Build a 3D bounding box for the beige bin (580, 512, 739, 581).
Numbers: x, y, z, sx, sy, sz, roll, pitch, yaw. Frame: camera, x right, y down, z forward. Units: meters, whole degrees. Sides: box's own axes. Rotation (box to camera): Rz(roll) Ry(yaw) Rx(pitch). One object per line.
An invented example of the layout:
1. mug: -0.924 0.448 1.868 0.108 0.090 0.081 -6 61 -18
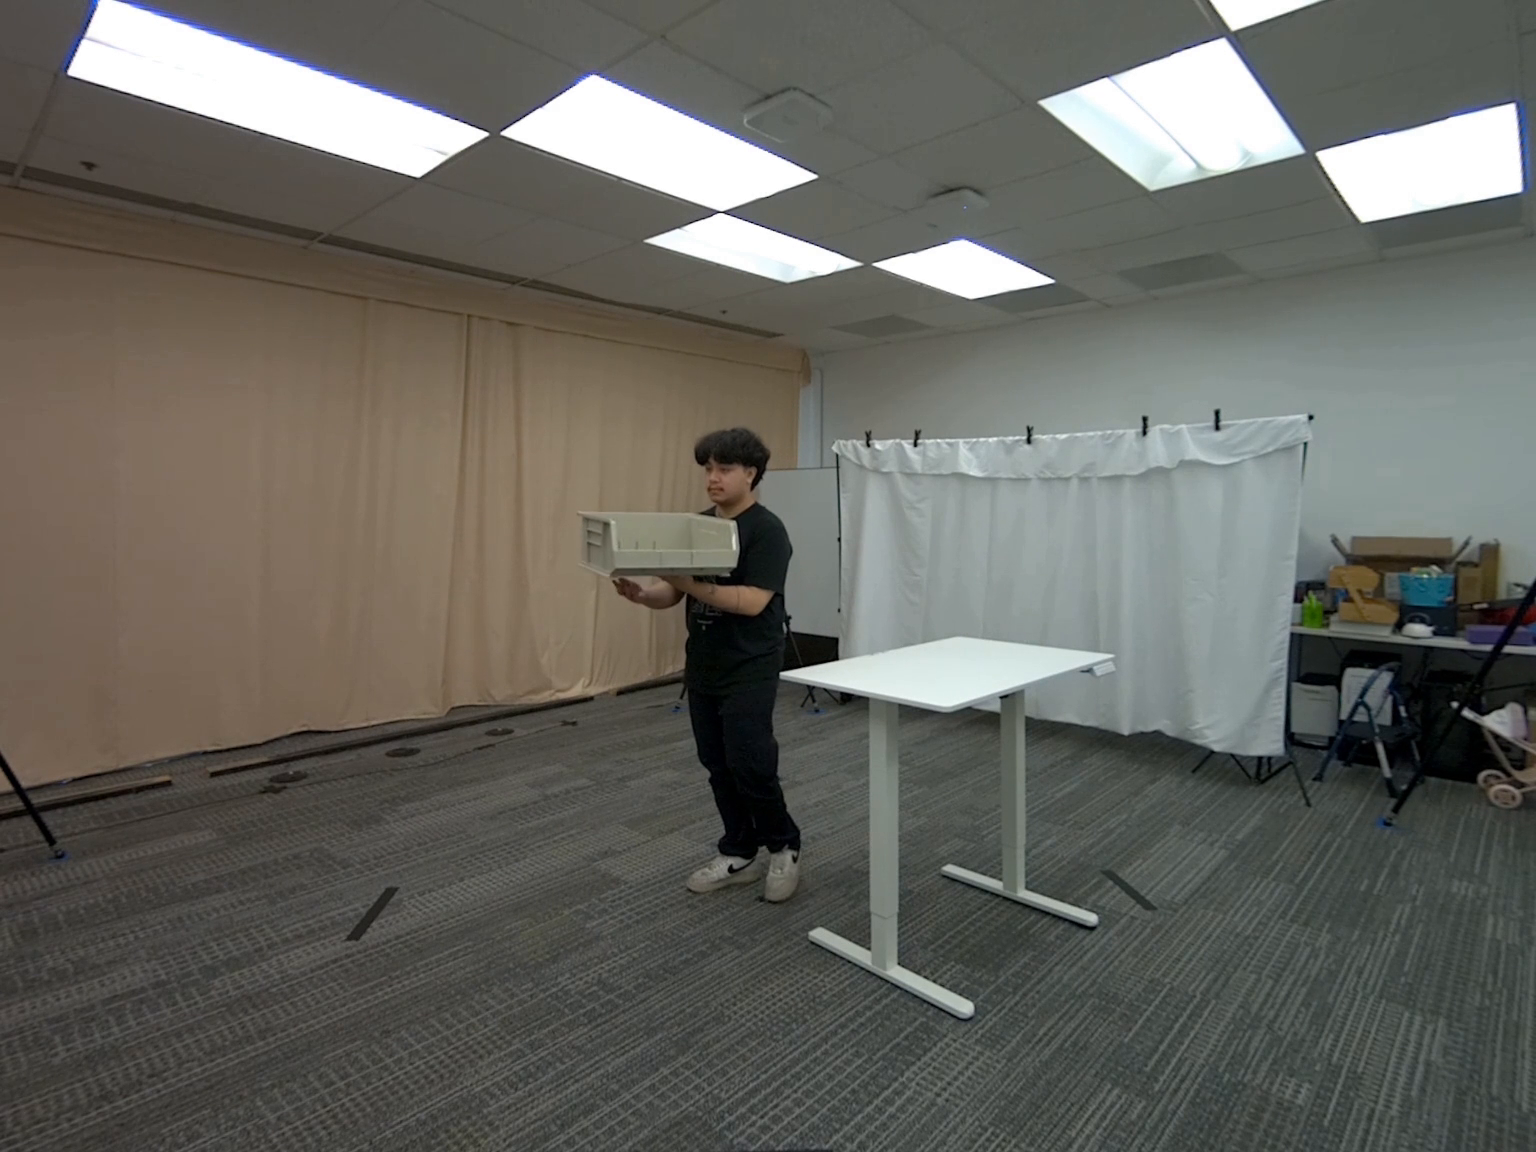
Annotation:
1. beige bin: -0.354 -0.099 2.726 0.411 0.188 0.388 -2 7 -28
